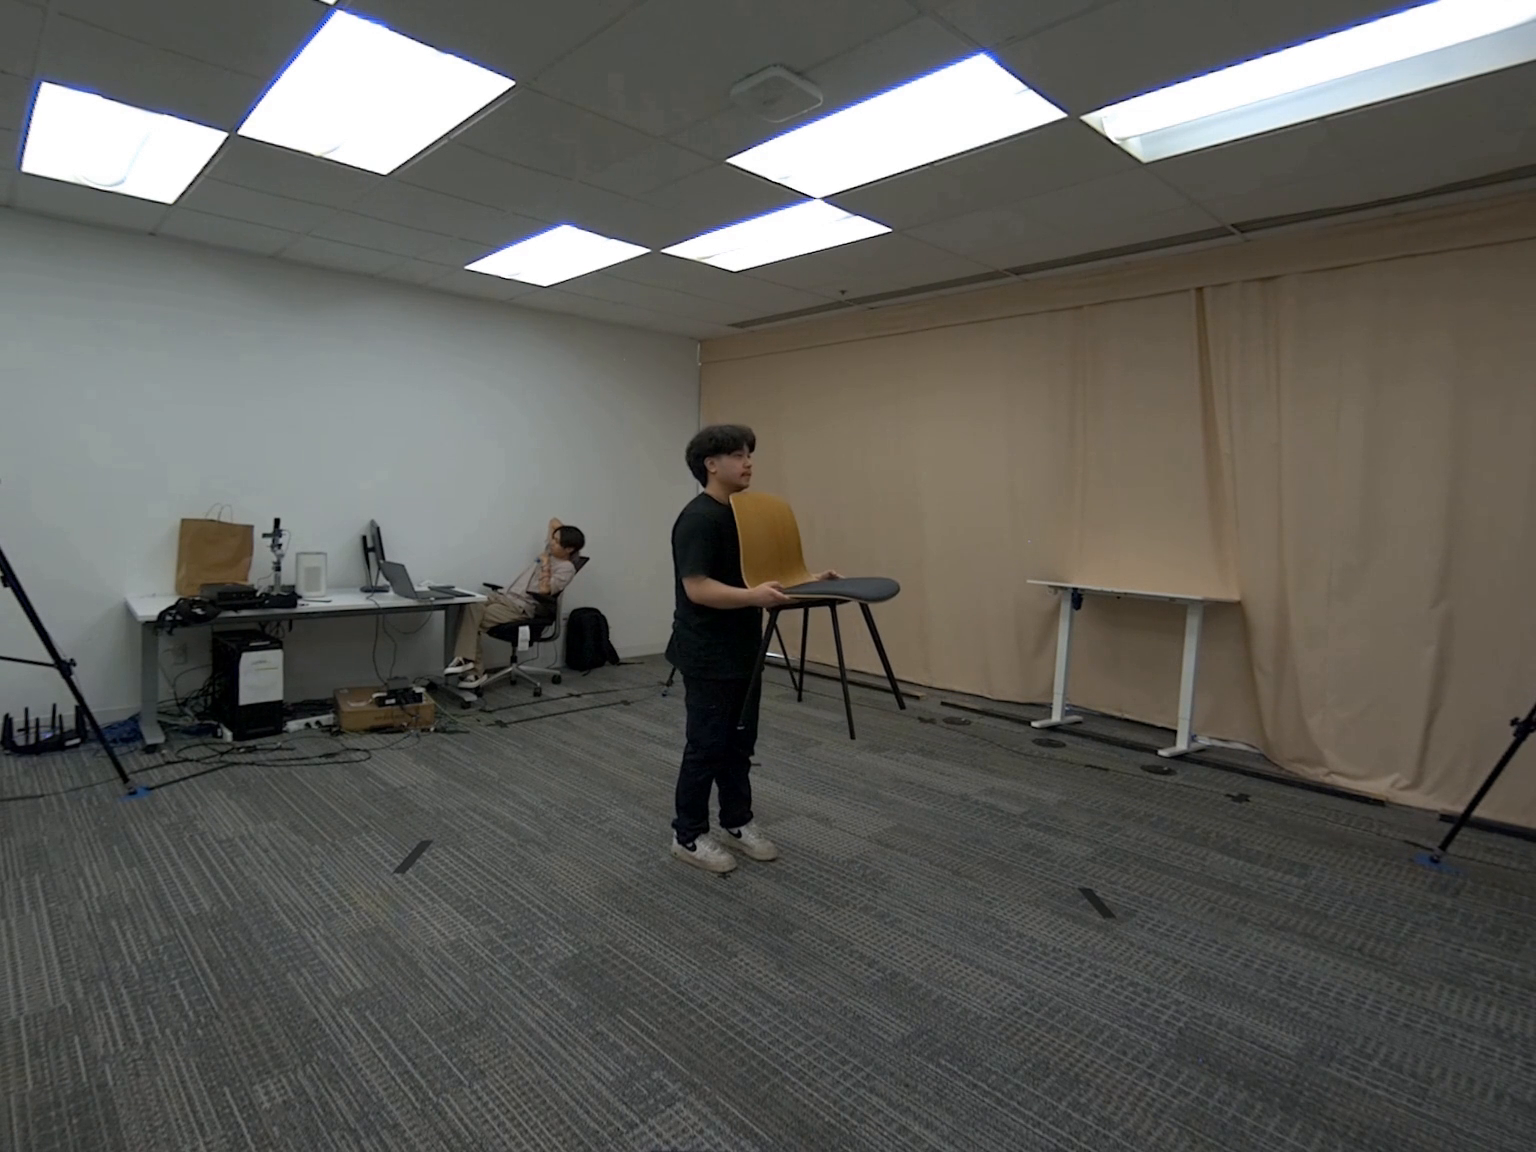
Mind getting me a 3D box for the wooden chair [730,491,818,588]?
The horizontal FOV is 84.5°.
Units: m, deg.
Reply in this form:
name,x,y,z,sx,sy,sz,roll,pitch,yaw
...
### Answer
name,x,y,z,sx,sy,sz,roll,pitch,yaw
wooden chair,0.171,0.099,3.042,0.533,0.878,0.469,-7,0,33
